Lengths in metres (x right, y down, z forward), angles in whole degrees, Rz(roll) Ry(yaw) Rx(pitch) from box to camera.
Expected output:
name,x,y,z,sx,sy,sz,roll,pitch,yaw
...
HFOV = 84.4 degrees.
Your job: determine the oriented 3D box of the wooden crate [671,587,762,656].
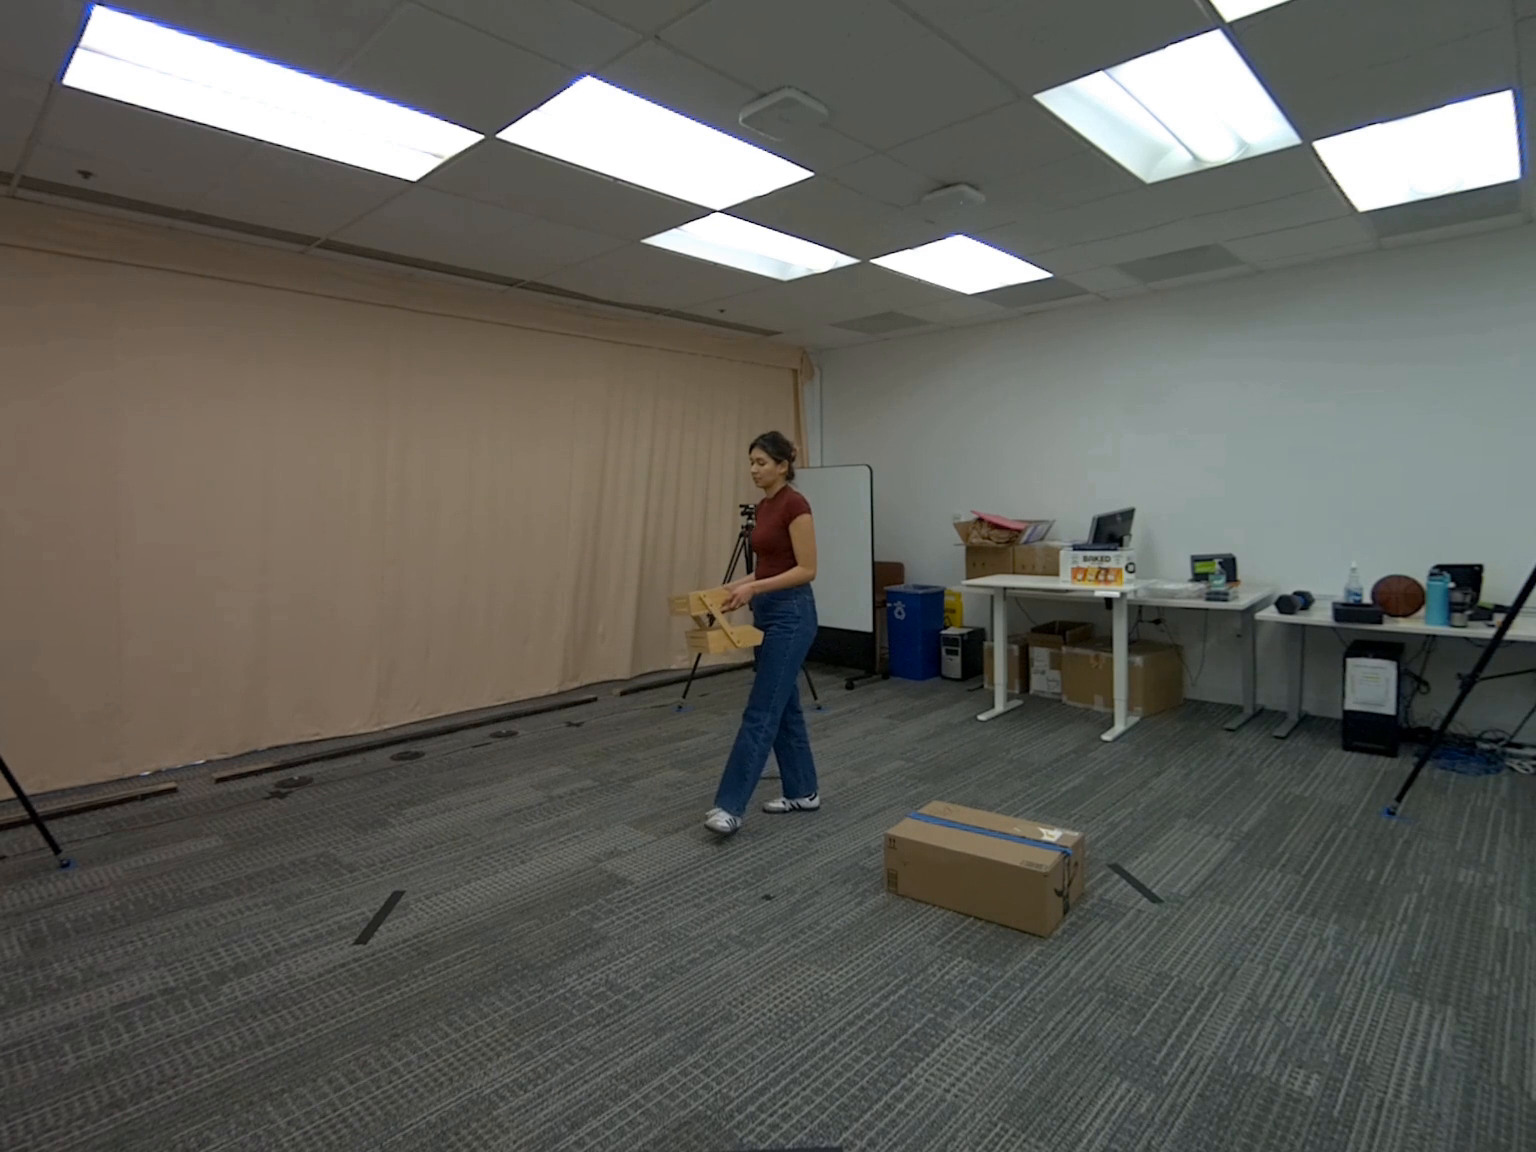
name,x,y,z,sx,sy,sz,roll,pitch,yaw
wooden crate,-0.219,0.184,3.620,0.296,0.273,0.331,-8,-1,-23
